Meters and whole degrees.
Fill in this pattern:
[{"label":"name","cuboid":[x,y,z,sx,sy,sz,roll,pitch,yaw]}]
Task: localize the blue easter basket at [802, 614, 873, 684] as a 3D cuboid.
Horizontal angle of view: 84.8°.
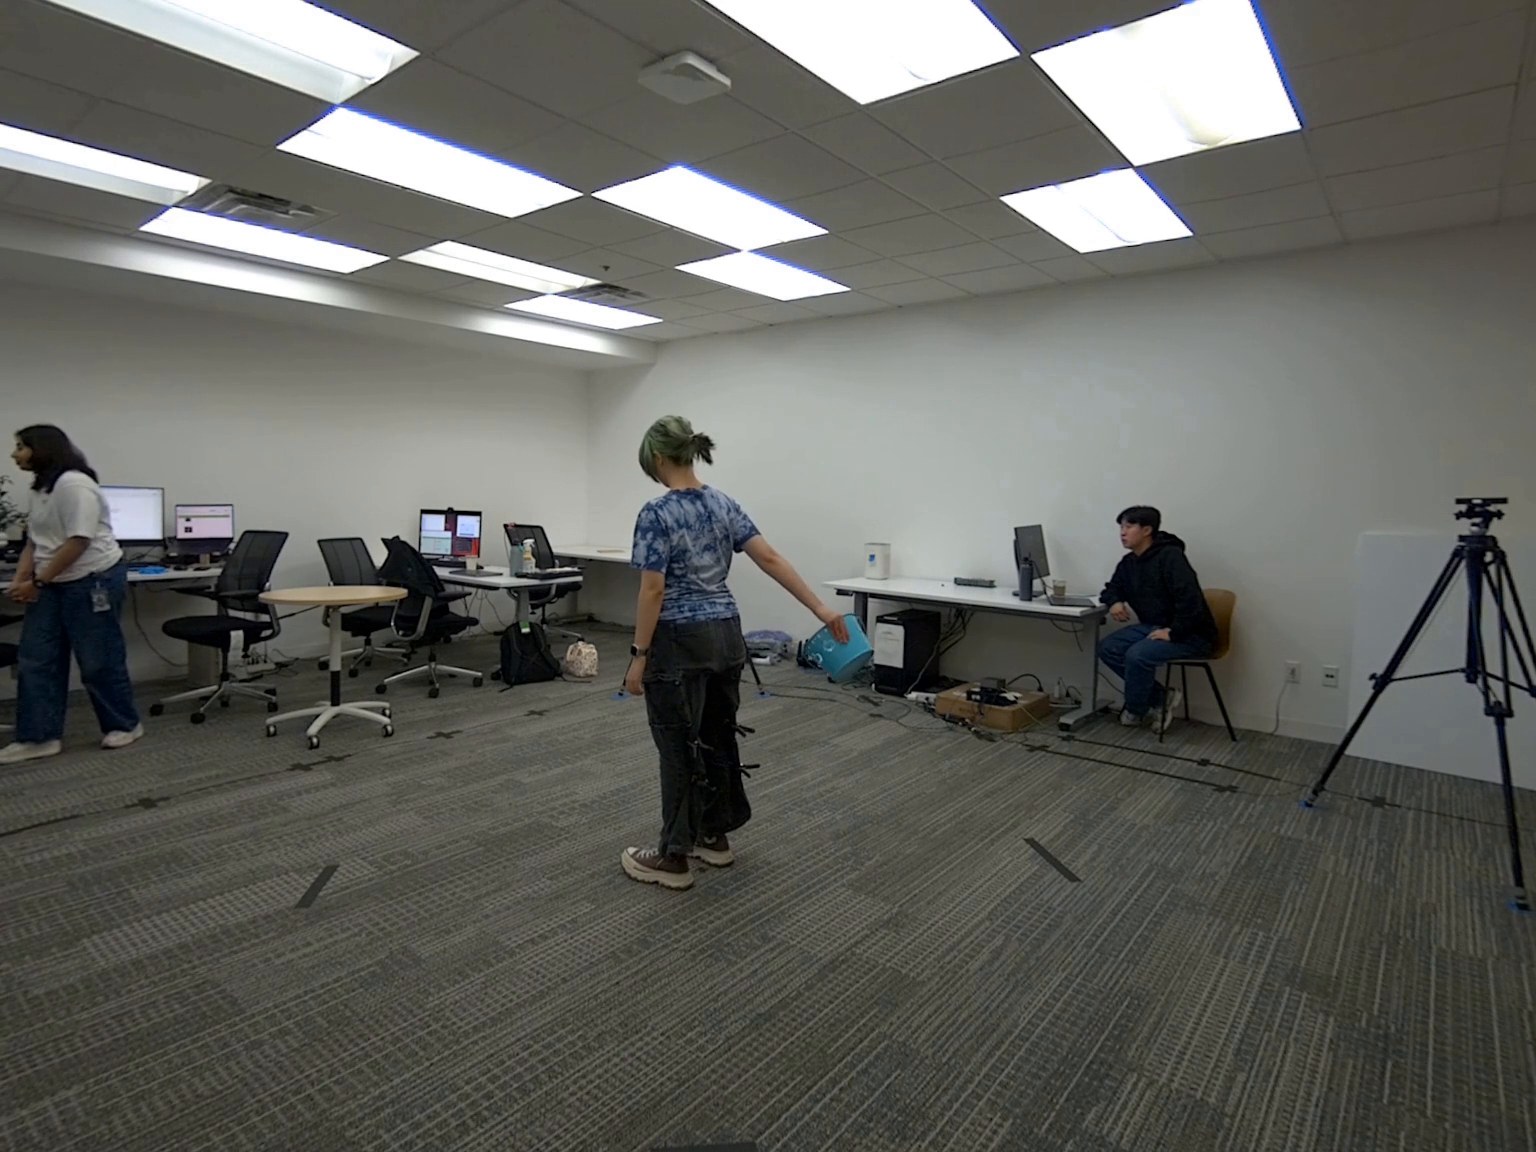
[{"label":"blue easter basket","cuboid":[0.249,0.270,3.111,0.242,0.161,0.238,-28,-23,-15]}]
